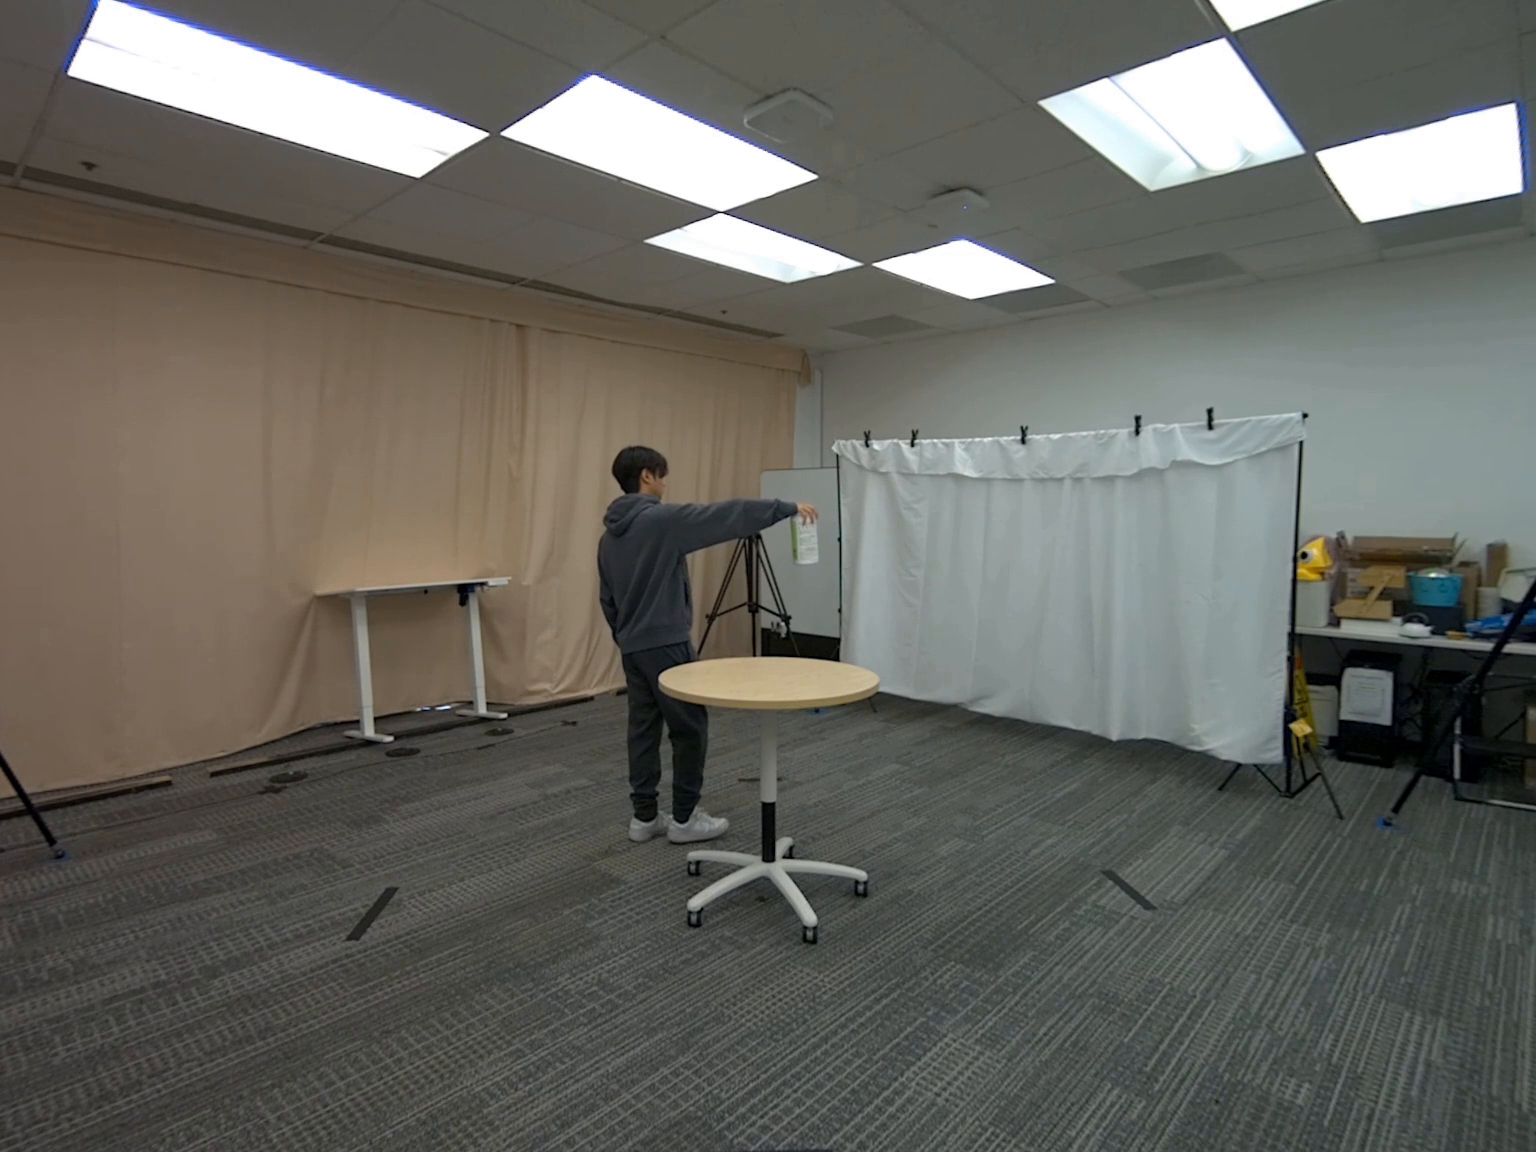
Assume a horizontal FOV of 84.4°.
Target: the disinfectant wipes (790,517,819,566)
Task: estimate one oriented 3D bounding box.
[{"bbox_3d":[0.161,-0.159,3.577,0.118,0.216,0.118,-3,6,-1],"label":"disinfectant wipes"}]
